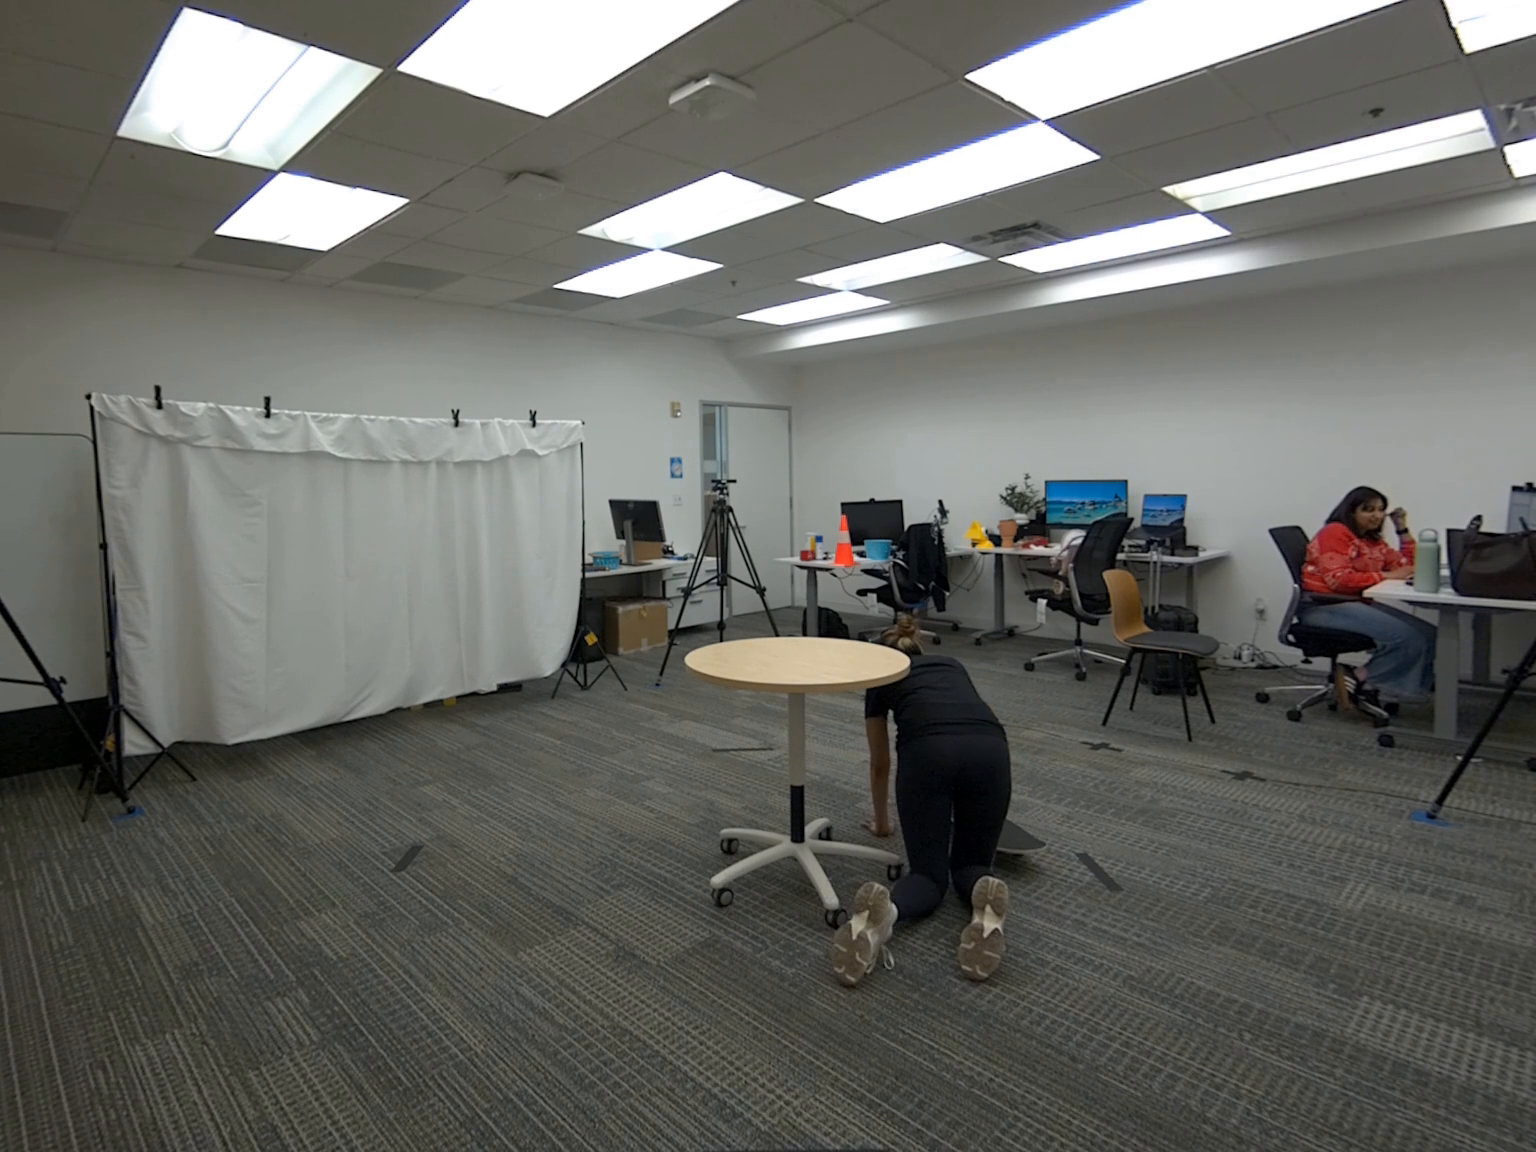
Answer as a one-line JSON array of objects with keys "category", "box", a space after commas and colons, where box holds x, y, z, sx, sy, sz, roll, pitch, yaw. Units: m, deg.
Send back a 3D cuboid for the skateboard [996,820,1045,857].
[{"category": "skateboard", "box": [0.794, 0.953, 3.315, 0.190, 0.110, 0.801, -3, 7, -17]}]
